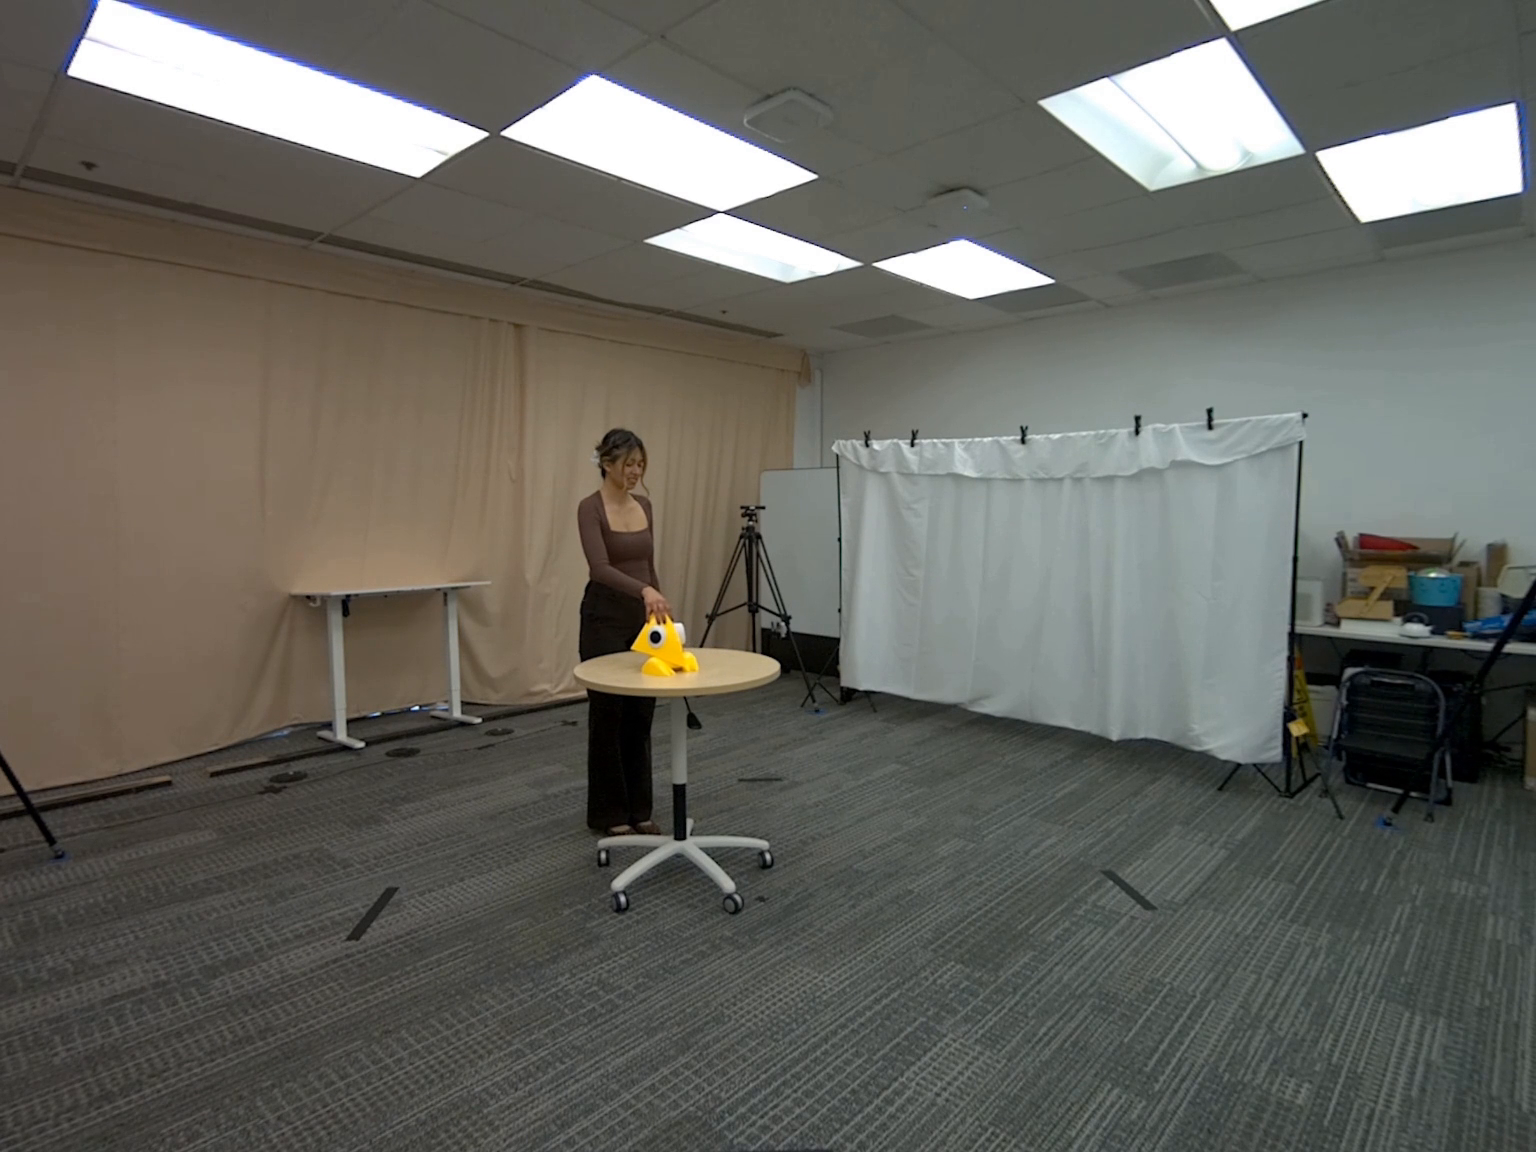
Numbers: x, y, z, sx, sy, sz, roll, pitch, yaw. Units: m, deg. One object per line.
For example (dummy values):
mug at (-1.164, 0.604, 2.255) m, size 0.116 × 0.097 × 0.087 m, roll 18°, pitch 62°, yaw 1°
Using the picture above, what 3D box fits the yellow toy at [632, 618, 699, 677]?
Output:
yellow toy at (-0.364, 0.229, 3.066) m, size 0.198 × 0.230 × 0.199 m, roll -4°, pitch 6°, yaw -41°
